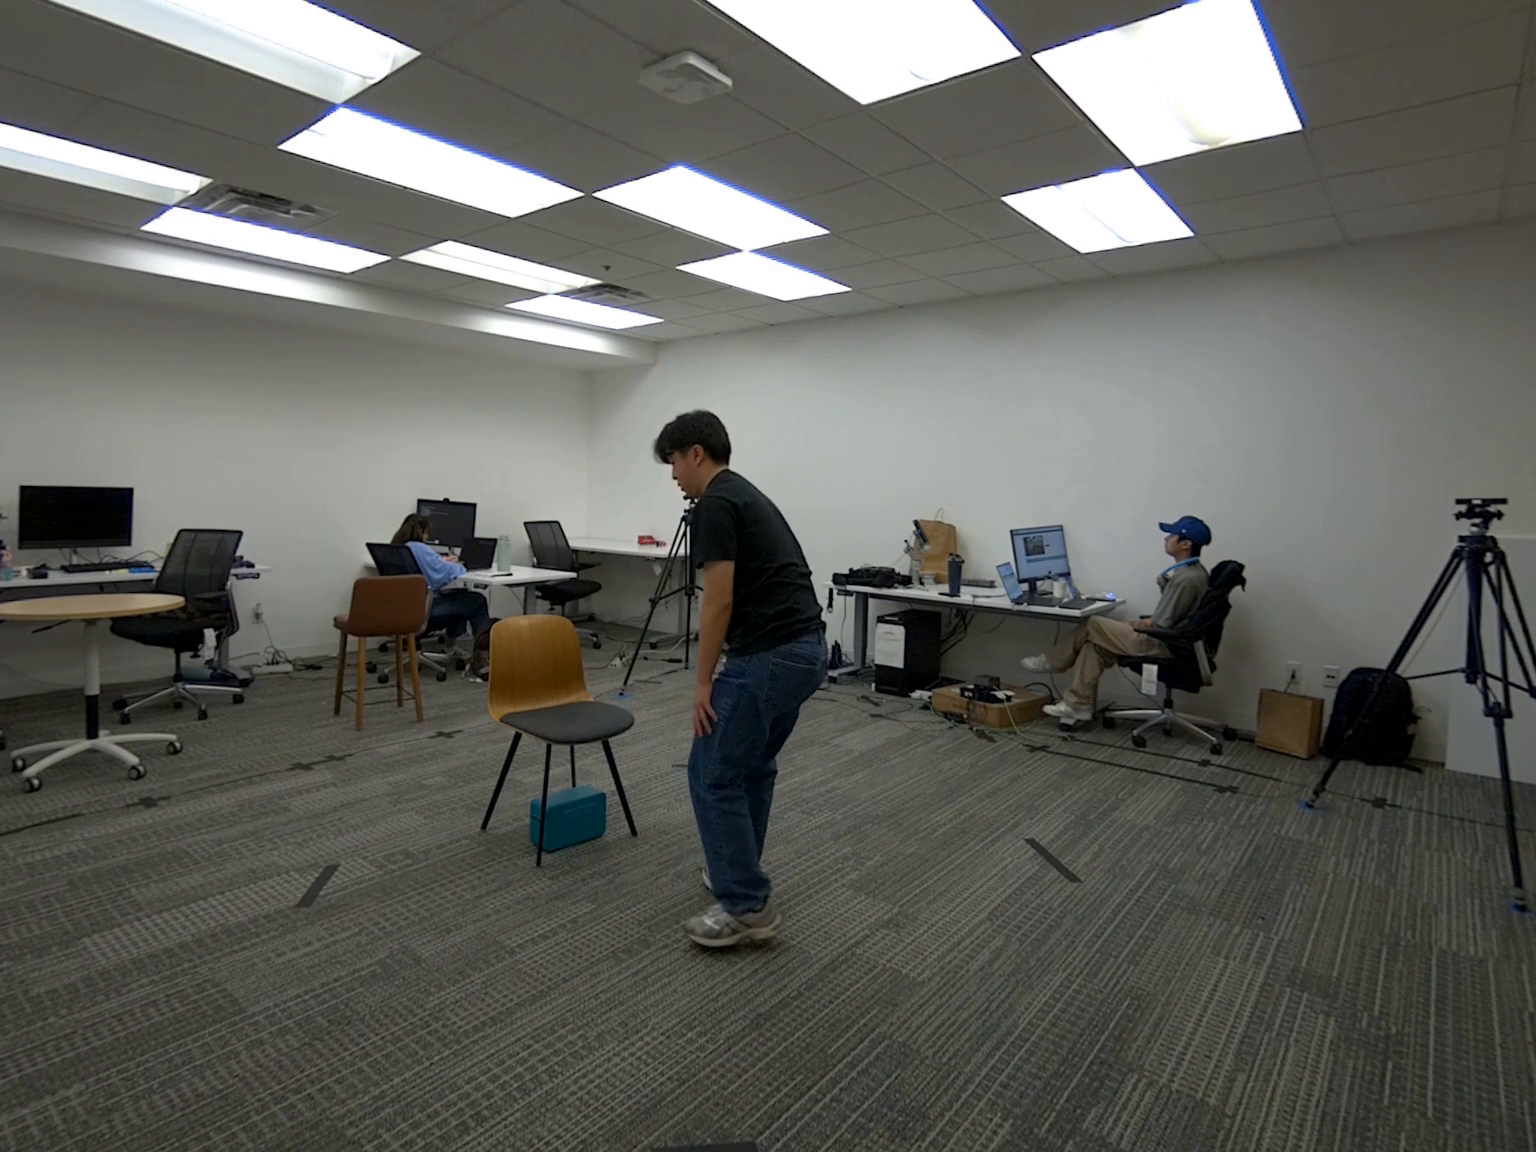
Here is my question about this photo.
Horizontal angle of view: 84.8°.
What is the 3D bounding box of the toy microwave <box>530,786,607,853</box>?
[{"bbox_3d":[-0.806,0.947,3.343,0.277,0.183,0.157,-3,6,-44],"label":"toy microwave"}]
